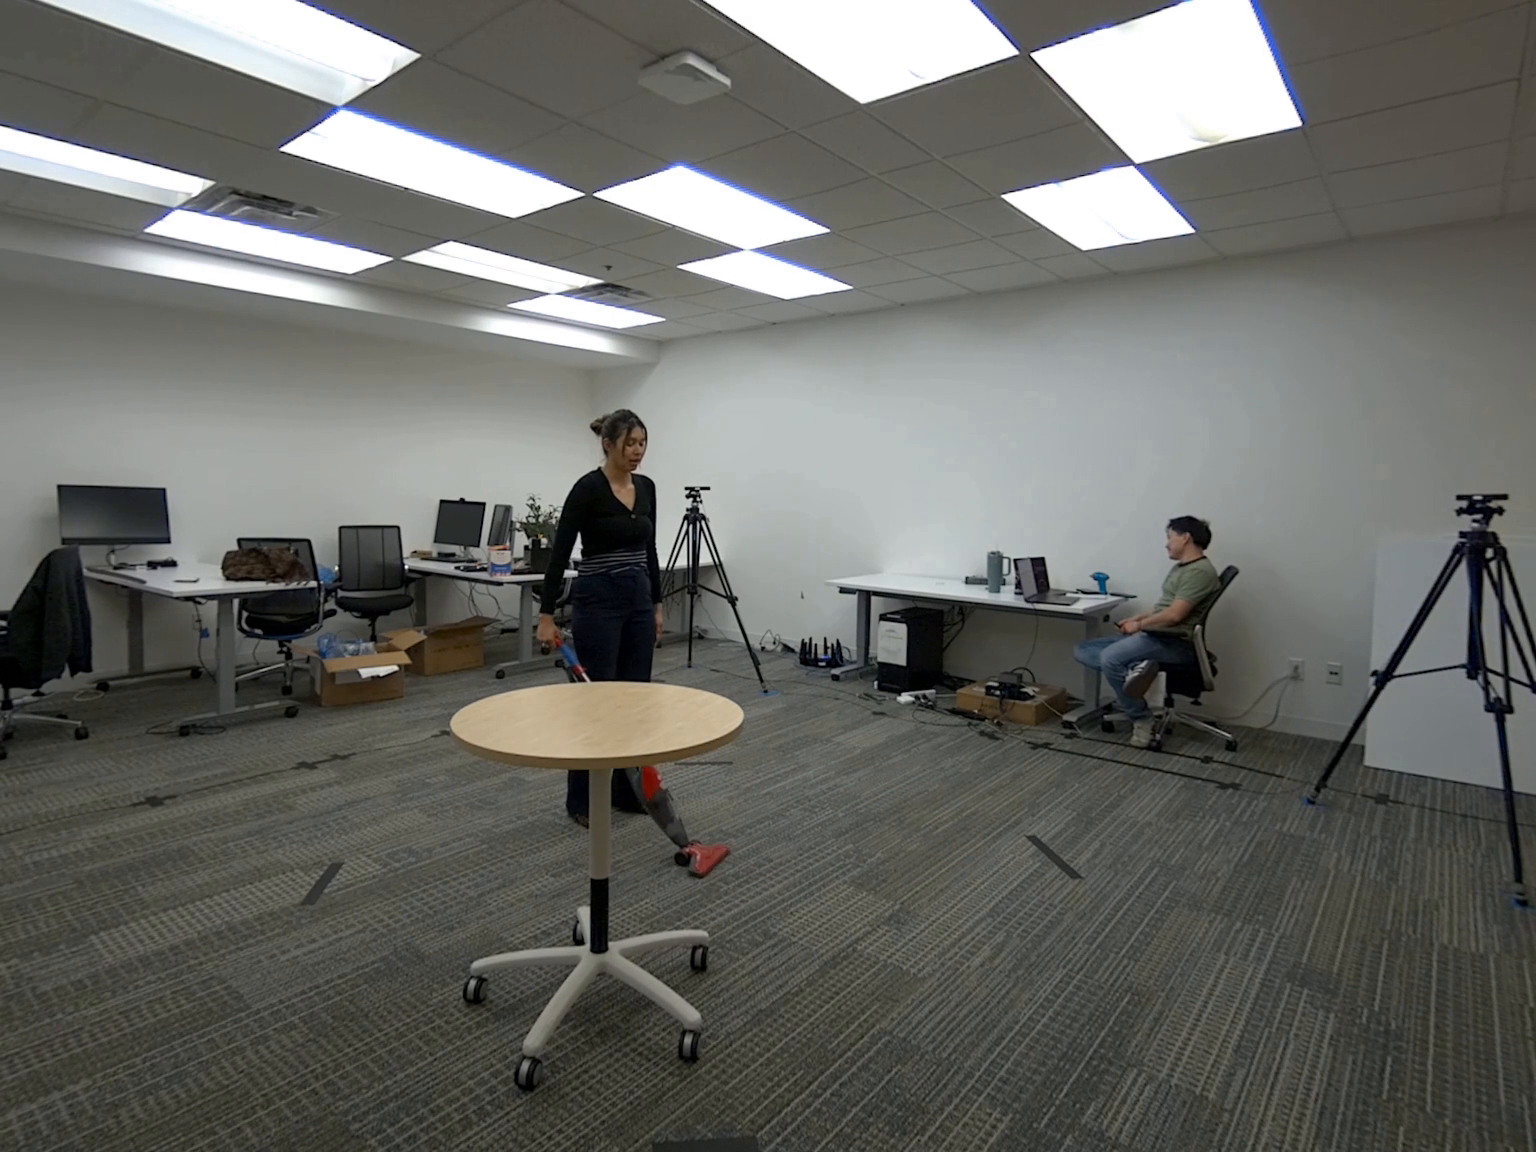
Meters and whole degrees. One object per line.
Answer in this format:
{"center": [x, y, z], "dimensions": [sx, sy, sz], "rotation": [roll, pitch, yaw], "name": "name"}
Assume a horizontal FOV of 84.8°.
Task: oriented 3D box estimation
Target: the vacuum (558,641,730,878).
{"center": [-0.555, 0.652, 3.275], "dimensions": [0.144, 1.071, 0.247], "rotation": [-42, -15, 15], "name": "vacuum"}
